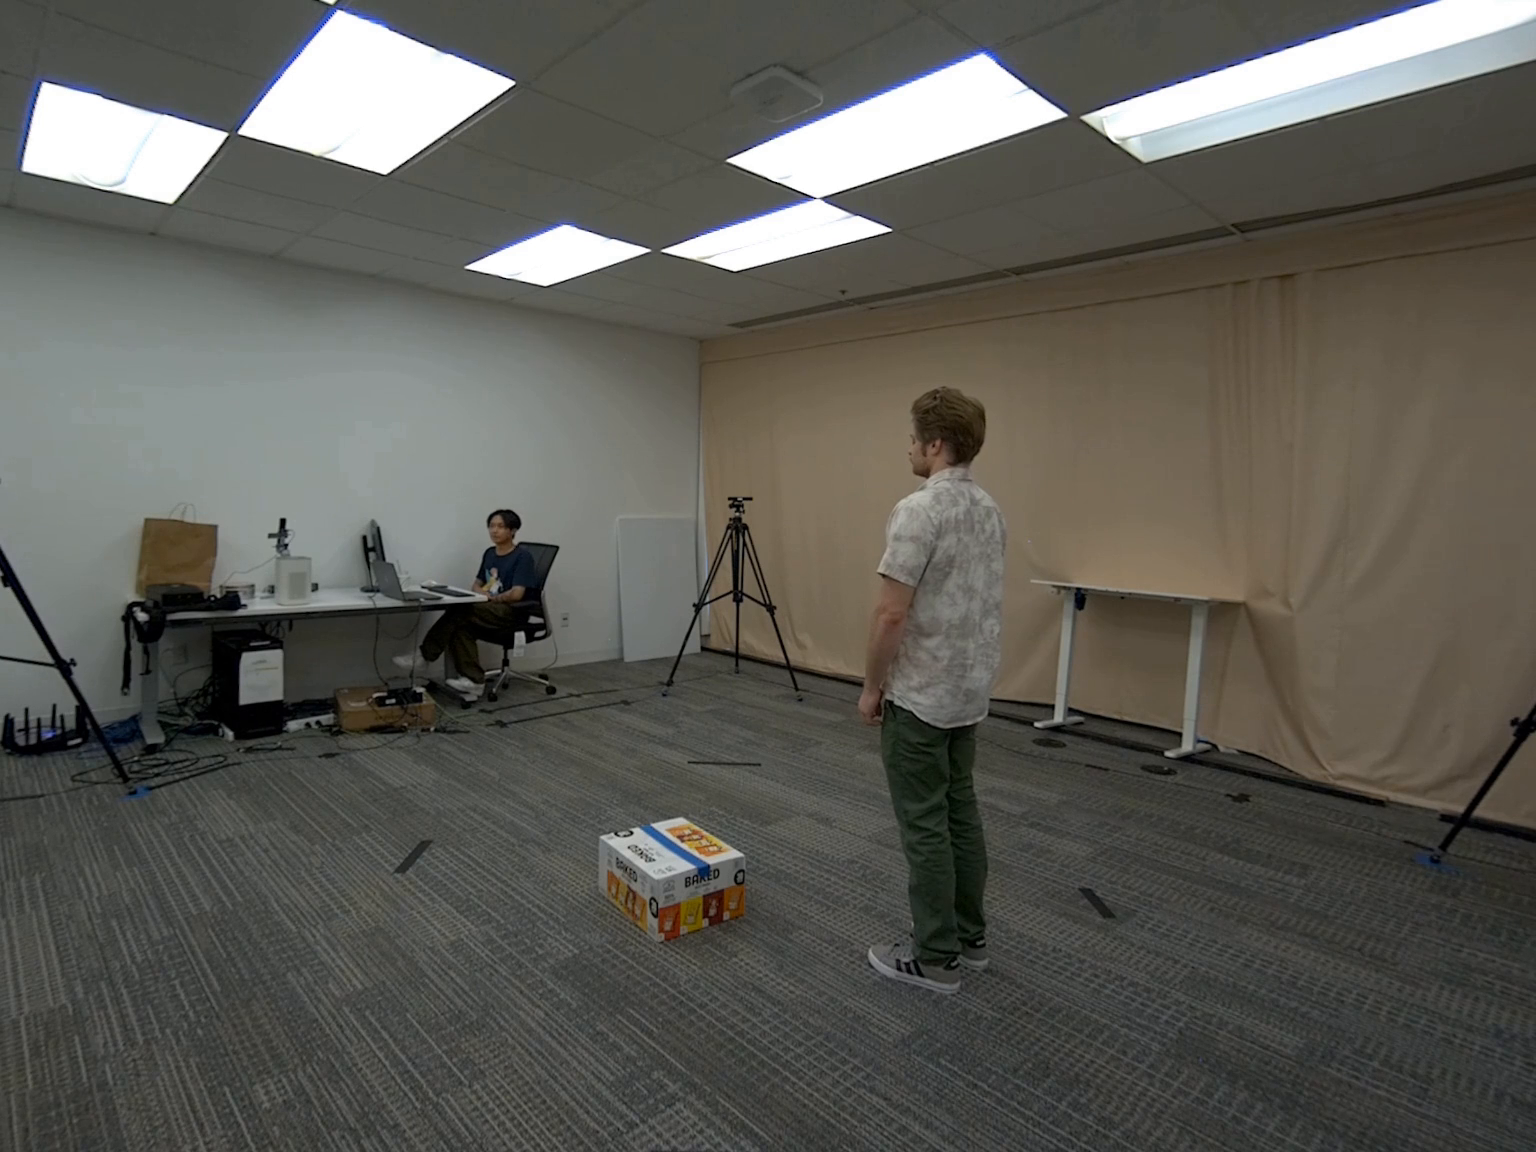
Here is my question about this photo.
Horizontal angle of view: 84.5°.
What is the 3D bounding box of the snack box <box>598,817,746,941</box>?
[{"bbox_3d":[-0.340,1.024,2.875,0.333,0.205,0.415,-2,6,-37],"label":"snack box"}]
